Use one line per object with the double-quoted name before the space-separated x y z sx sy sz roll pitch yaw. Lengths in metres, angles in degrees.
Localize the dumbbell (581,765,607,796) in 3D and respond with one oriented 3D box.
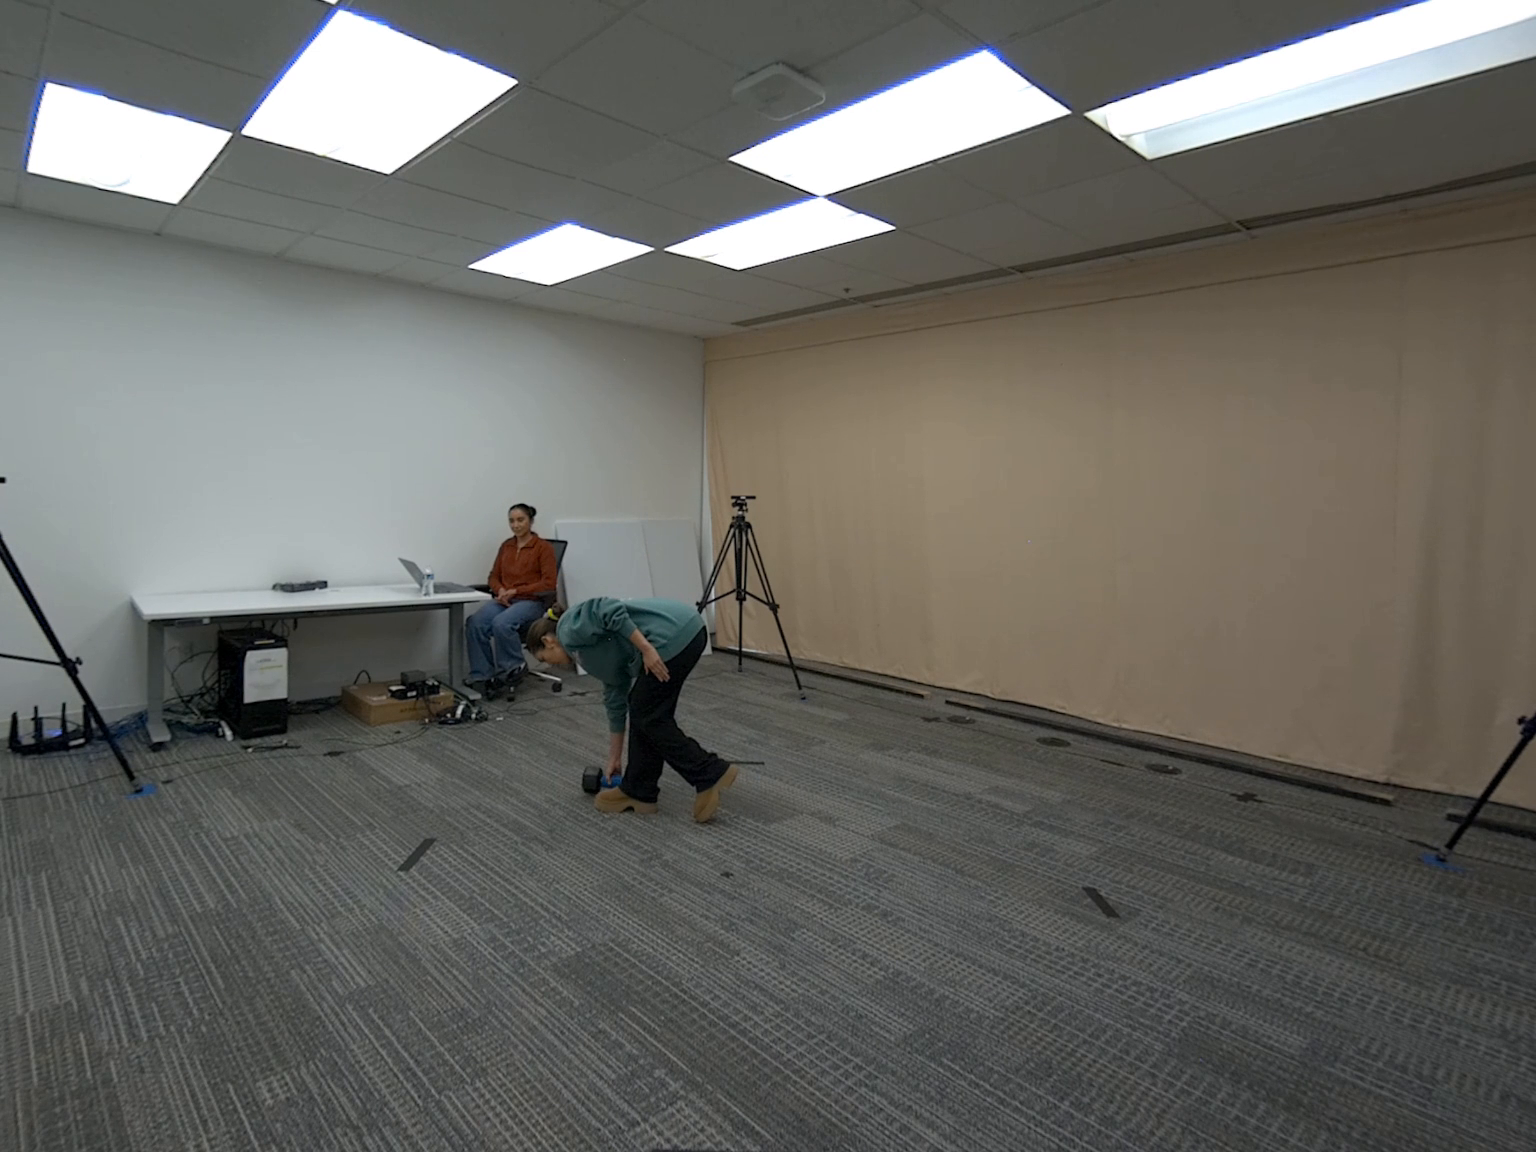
"dumbbell" -0.718 0.952 3.889 0.294 0.123 0.108 5 -6 4
